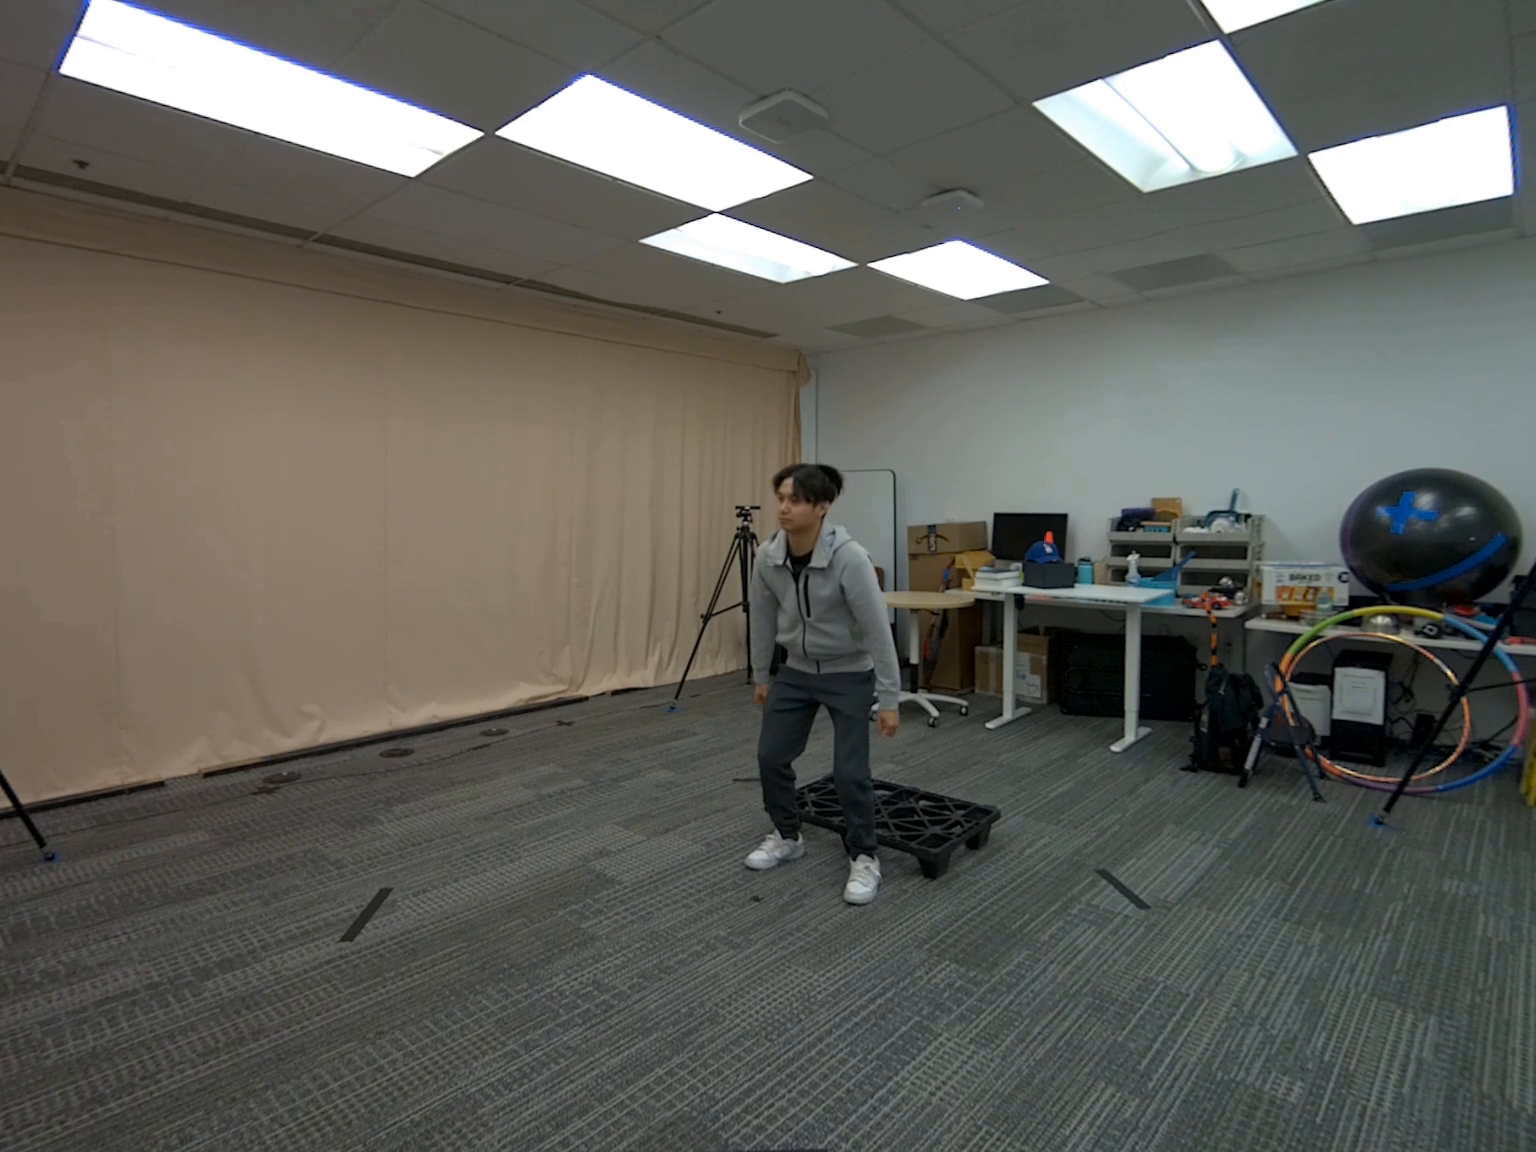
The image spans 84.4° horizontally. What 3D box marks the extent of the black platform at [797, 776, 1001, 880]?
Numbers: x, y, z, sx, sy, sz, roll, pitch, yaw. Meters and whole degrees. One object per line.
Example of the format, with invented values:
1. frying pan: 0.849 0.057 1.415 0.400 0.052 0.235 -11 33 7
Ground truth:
1. black platform: 0.476 1.029 3.532 0.832 0.143 0.587 4 6 39
